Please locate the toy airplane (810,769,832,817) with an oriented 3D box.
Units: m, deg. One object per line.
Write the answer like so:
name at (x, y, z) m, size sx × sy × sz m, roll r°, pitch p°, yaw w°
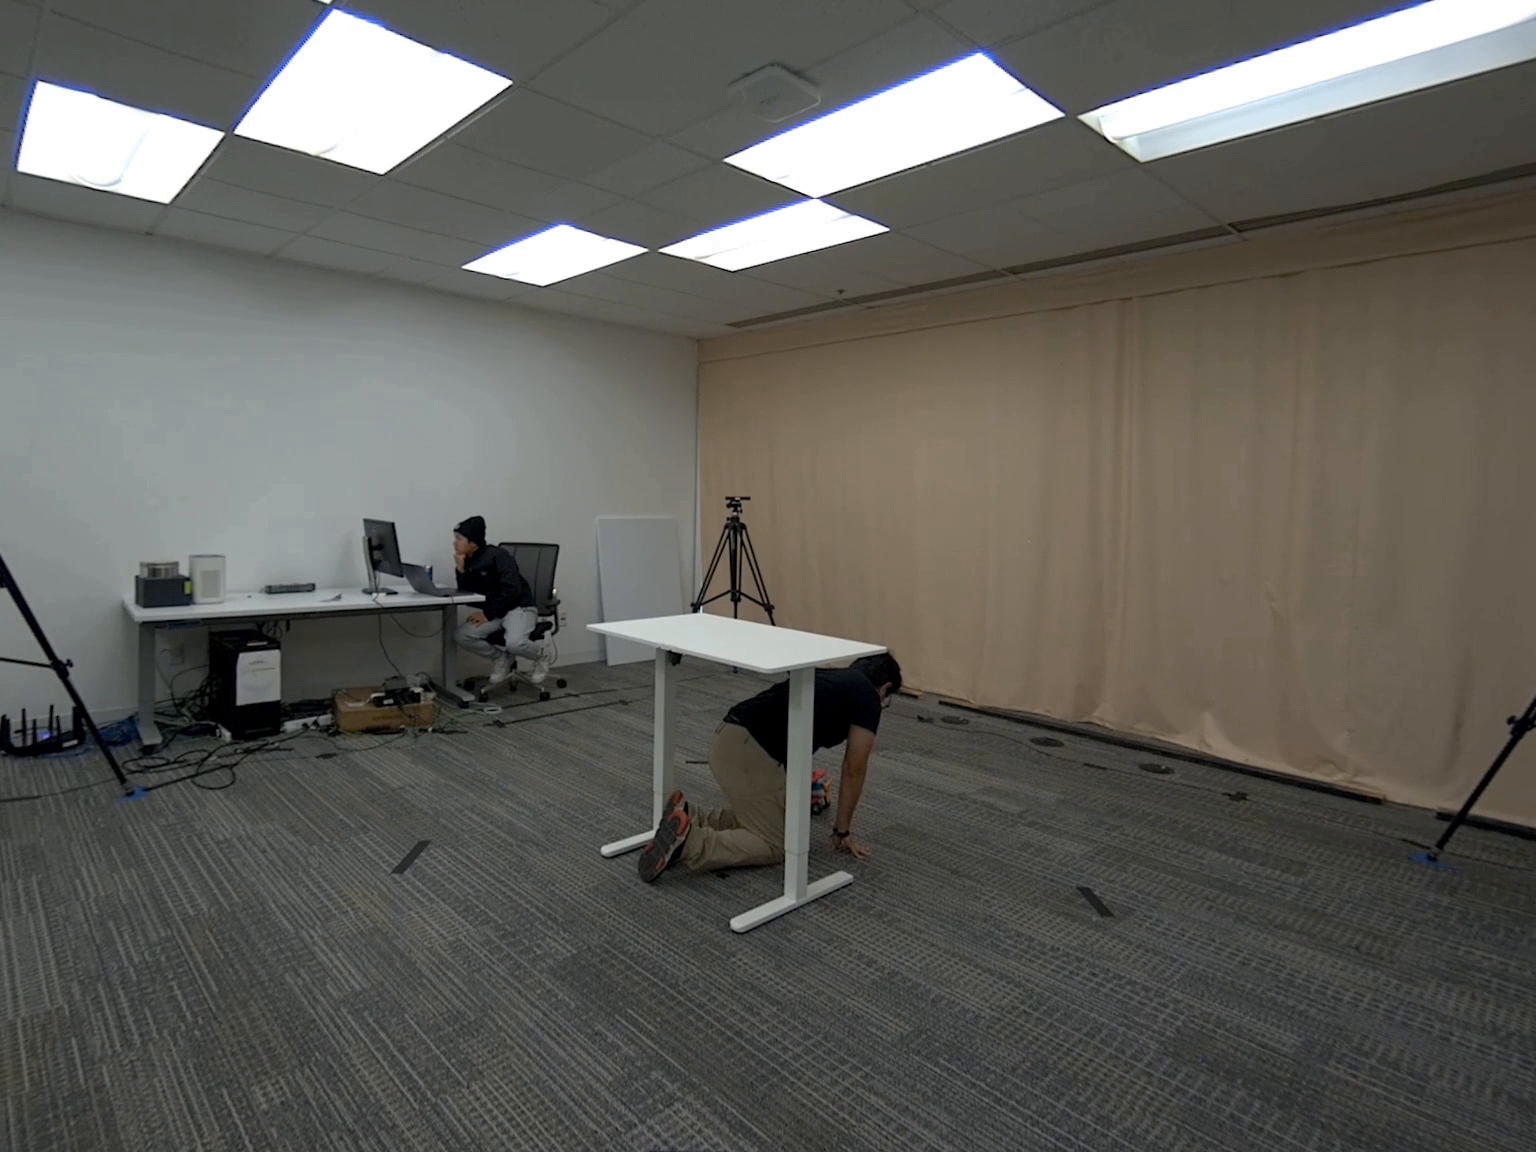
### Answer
toy airplane at (0.145, 0.976, 3.800) m, size 0.259 × 0.156 × 0.252 m, roll 2°, pitch 6°, yaw 1°
